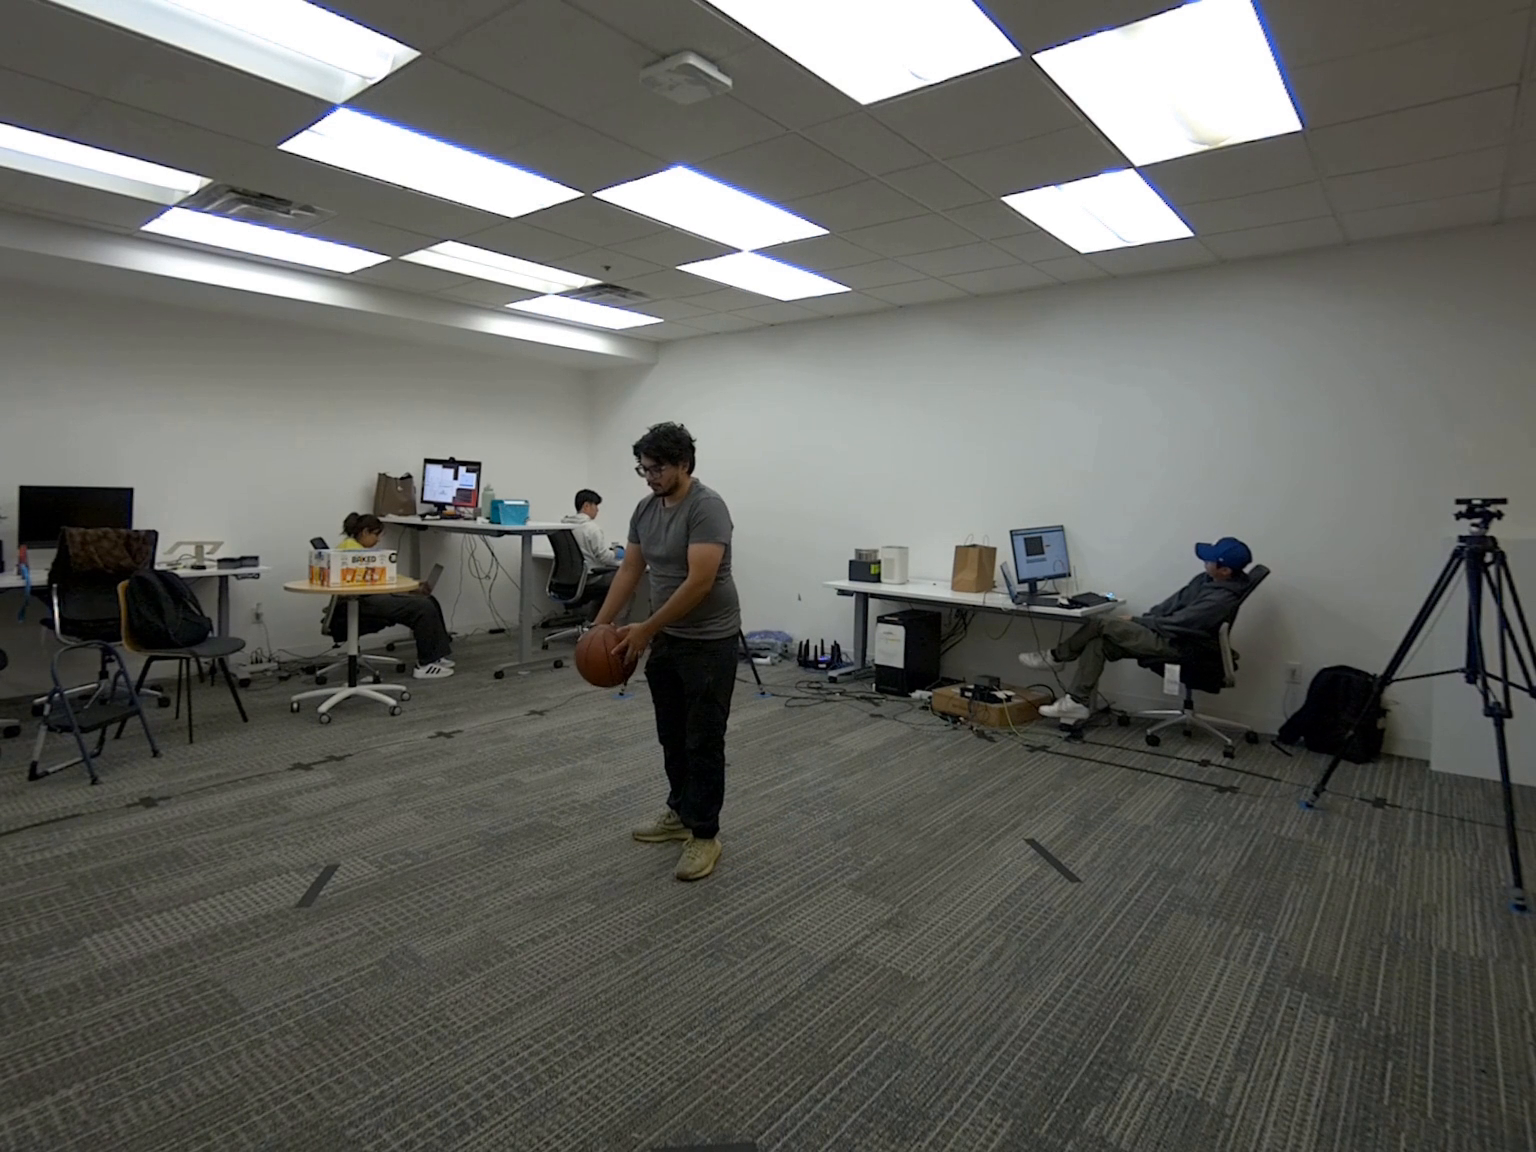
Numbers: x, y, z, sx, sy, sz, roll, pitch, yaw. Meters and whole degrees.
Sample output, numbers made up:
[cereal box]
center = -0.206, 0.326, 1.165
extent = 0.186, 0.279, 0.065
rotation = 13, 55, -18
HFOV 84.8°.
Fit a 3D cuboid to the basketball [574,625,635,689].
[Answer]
[basketball]
center = -0.620, 0.296, 3.217
extent = 0.235, 0.235, 0.237
rotation = 1, 4, -2
